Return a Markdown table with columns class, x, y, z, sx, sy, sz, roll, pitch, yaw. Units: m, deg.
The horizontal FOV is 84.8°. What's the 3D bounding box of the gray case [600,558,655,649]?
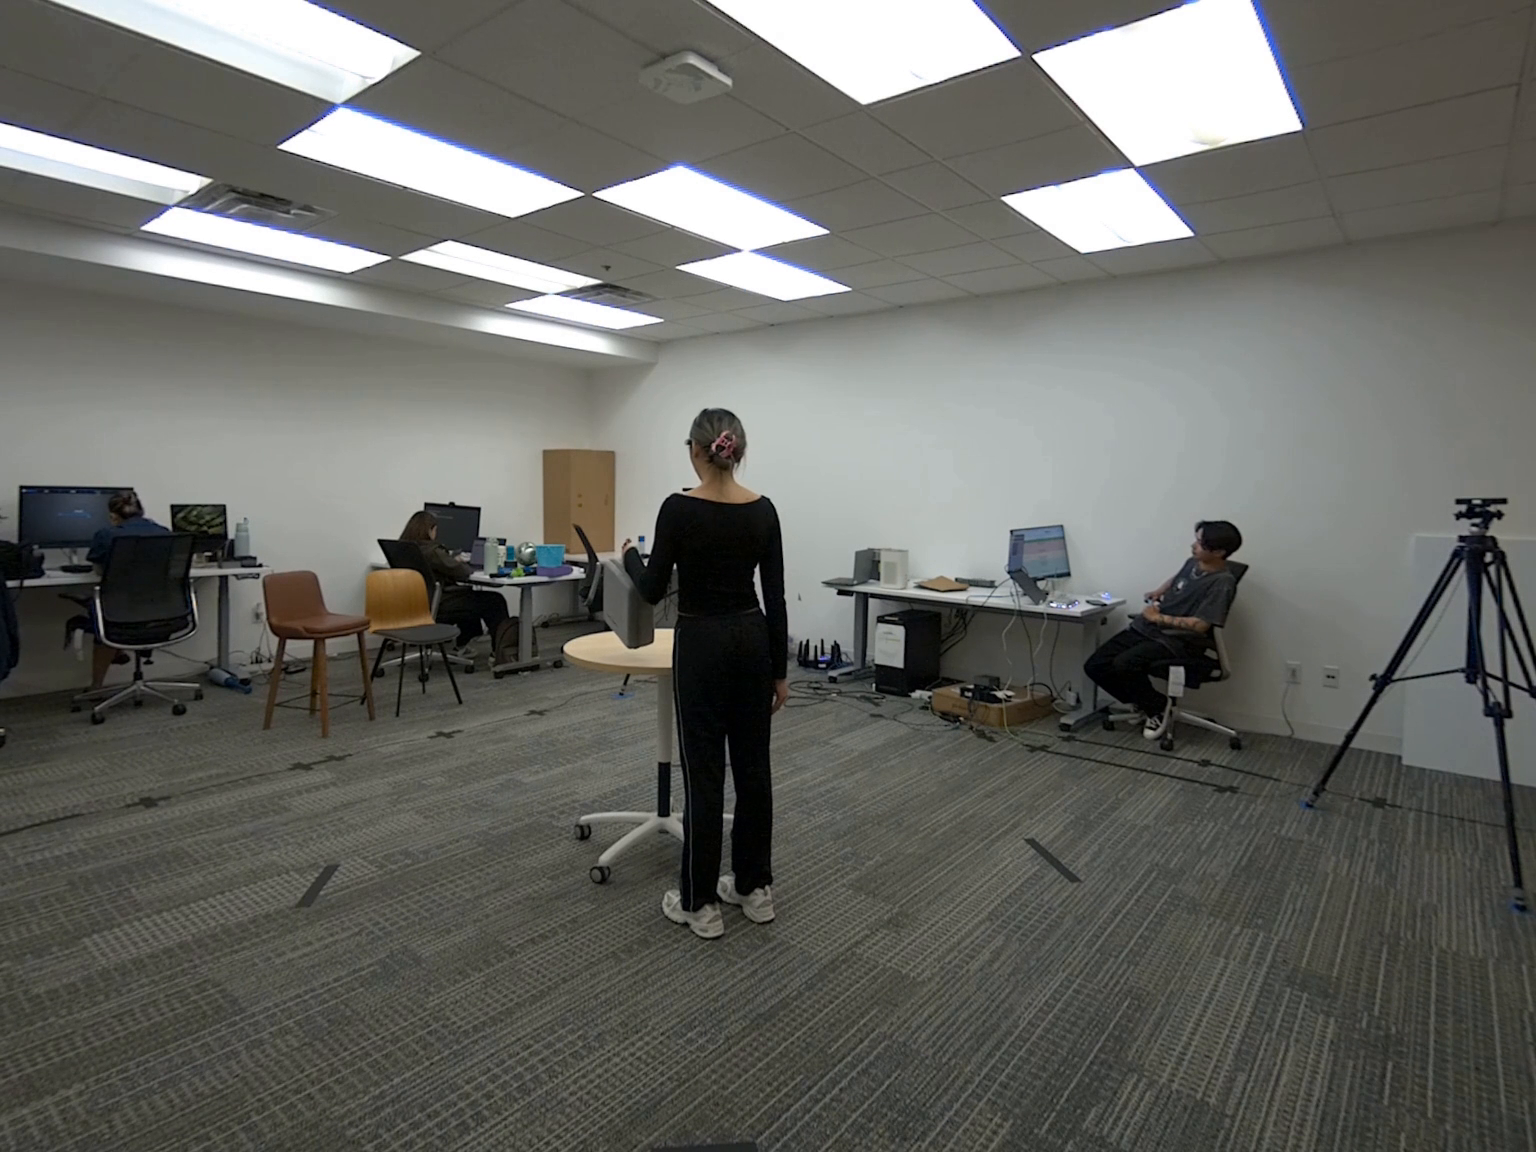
| class | x | y | z | sx | sy | sz | roll | pitch | yaw |
| --- | --- | --- | --- | --- | --- | --- | --- | --- | --- |
| gray case | -0.501 | 0.085 | 2.972 | 0.102 | 0.255 | 0.267 | -8 | 27 | -26 |
